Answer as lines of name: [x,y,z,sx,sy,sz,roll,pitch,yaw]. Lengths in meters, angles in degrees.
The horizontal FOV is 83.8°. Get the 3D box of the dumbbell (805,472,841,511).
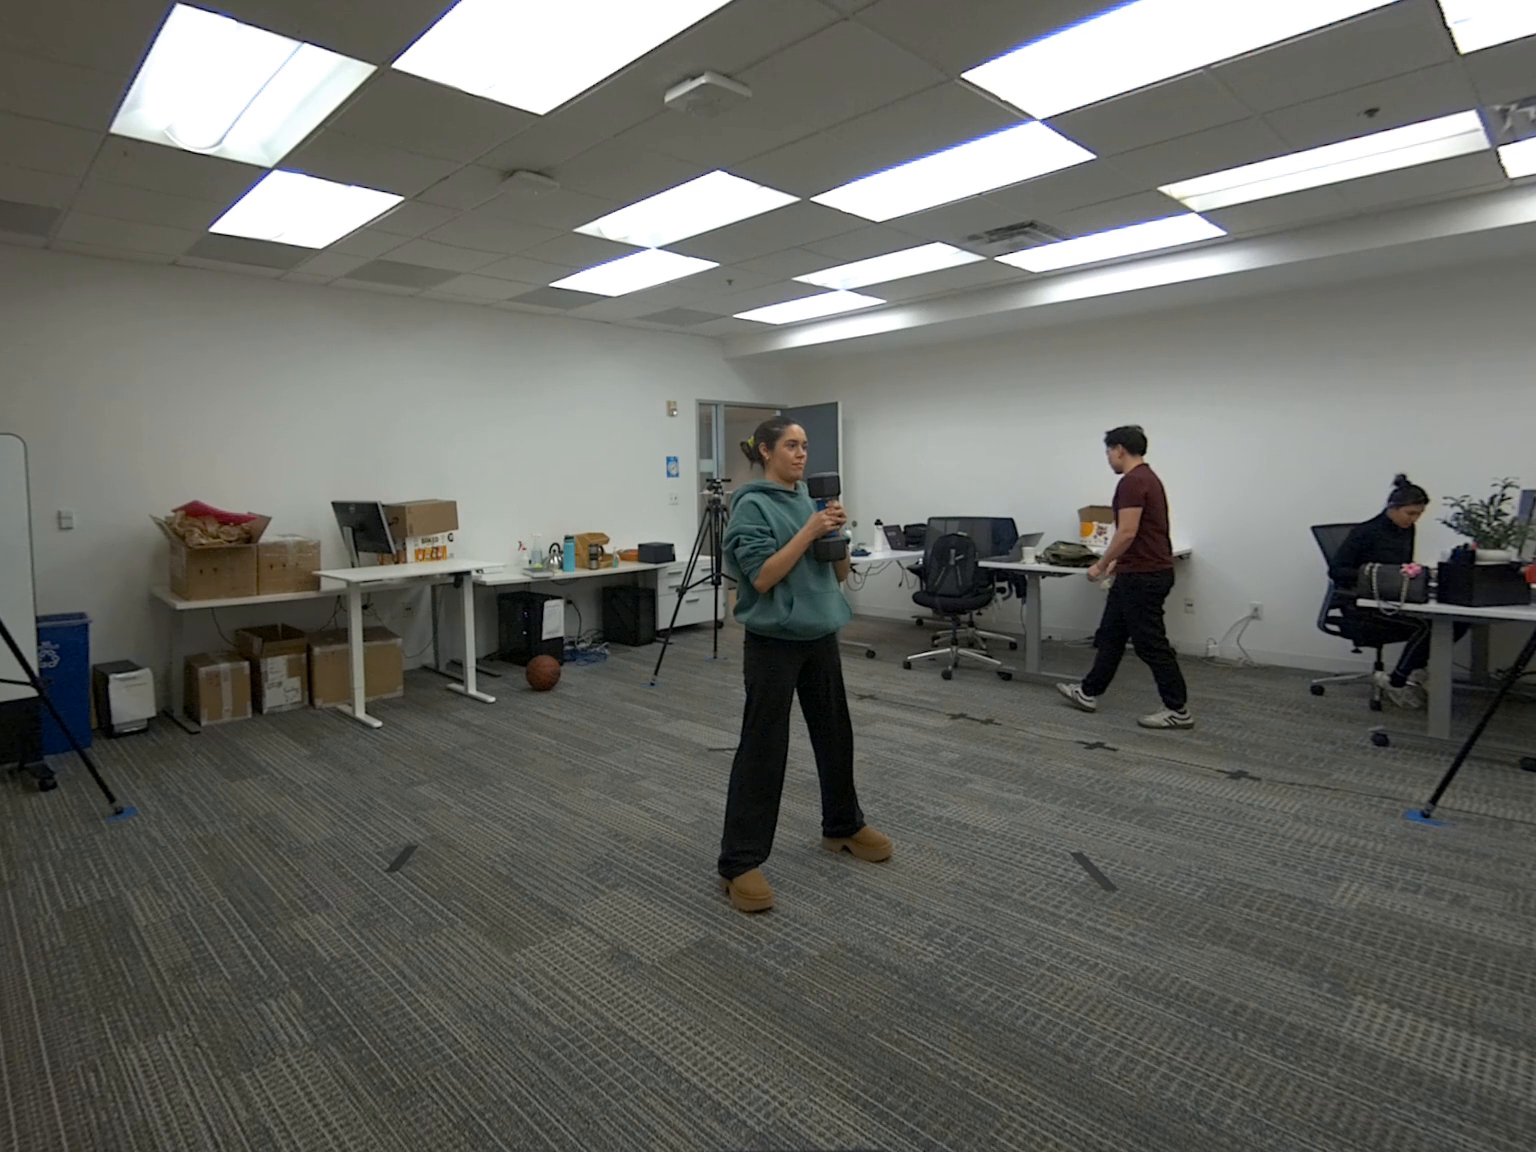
dumbbell: [0.188,-0.193,2.841,0.109,0.292,0.123,-5,5,6]
